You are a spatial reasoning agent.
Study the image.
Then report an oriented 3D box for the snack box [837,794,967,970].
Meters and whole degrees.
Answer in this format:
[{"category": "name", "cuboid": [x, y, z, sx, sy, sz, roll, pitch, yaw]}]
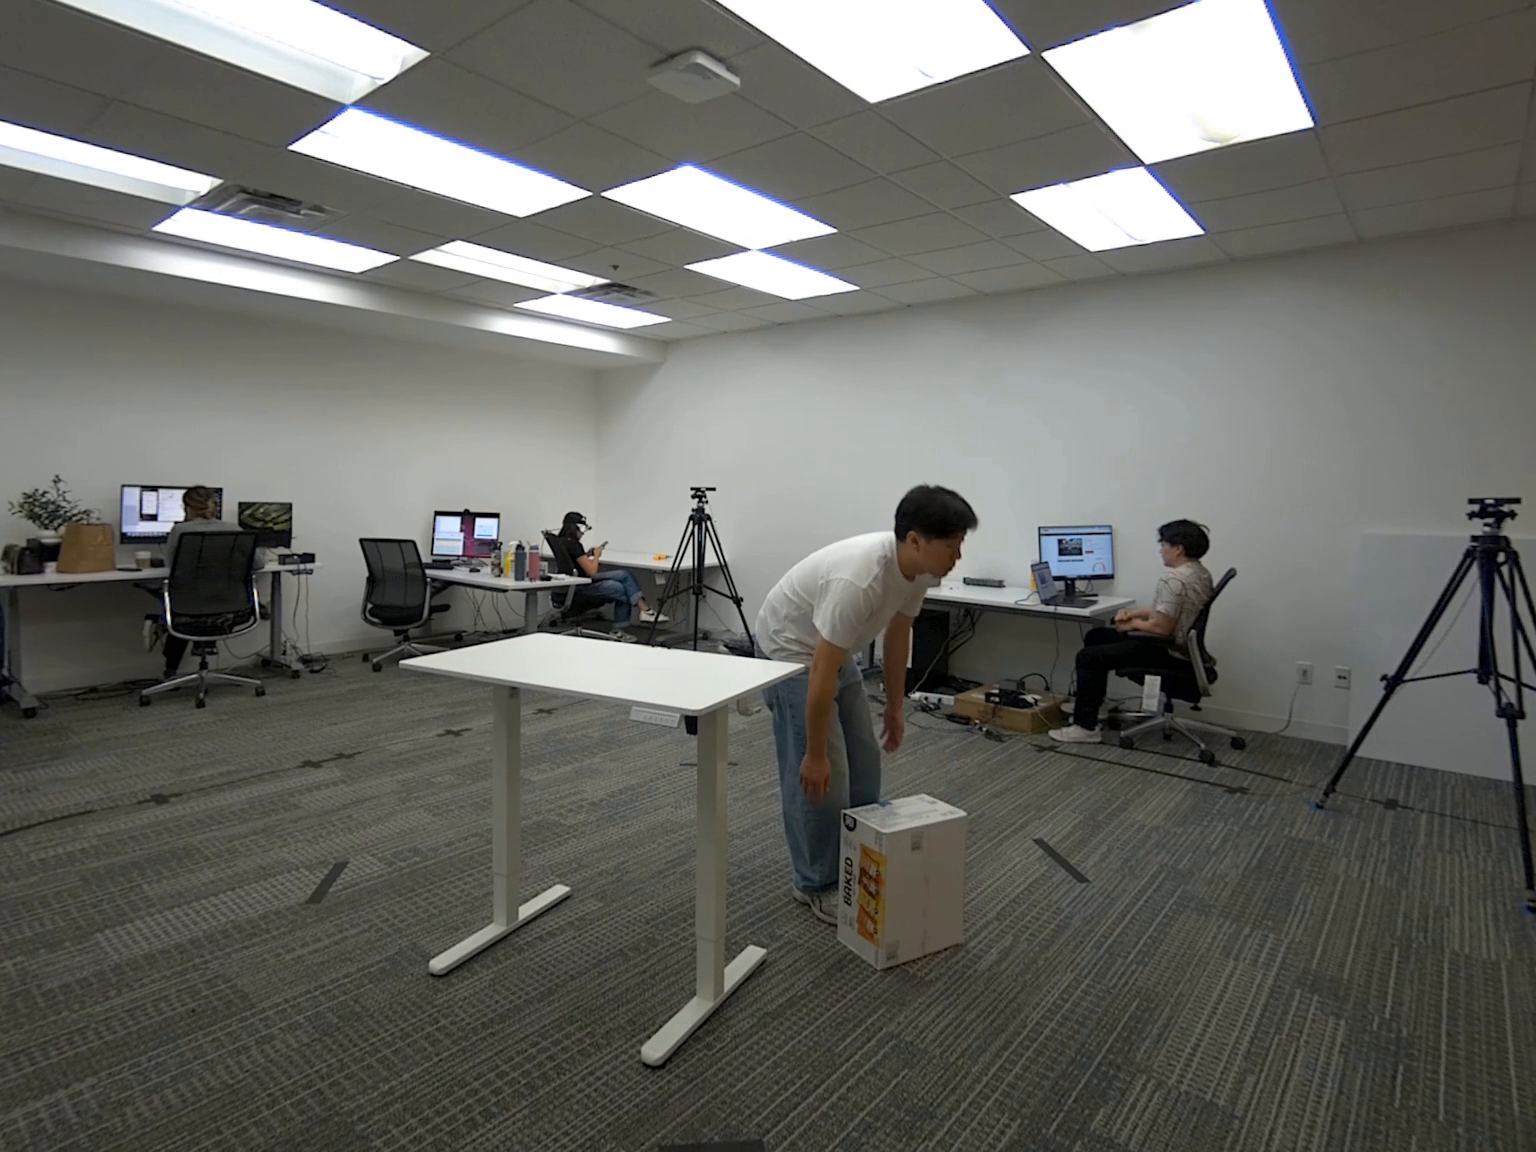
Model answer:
[{"category": "snack box", "cuboid": [0.413, 0.924, 2.622, 0.331, 0.404, 0.212, -1, 3, -31]}]
